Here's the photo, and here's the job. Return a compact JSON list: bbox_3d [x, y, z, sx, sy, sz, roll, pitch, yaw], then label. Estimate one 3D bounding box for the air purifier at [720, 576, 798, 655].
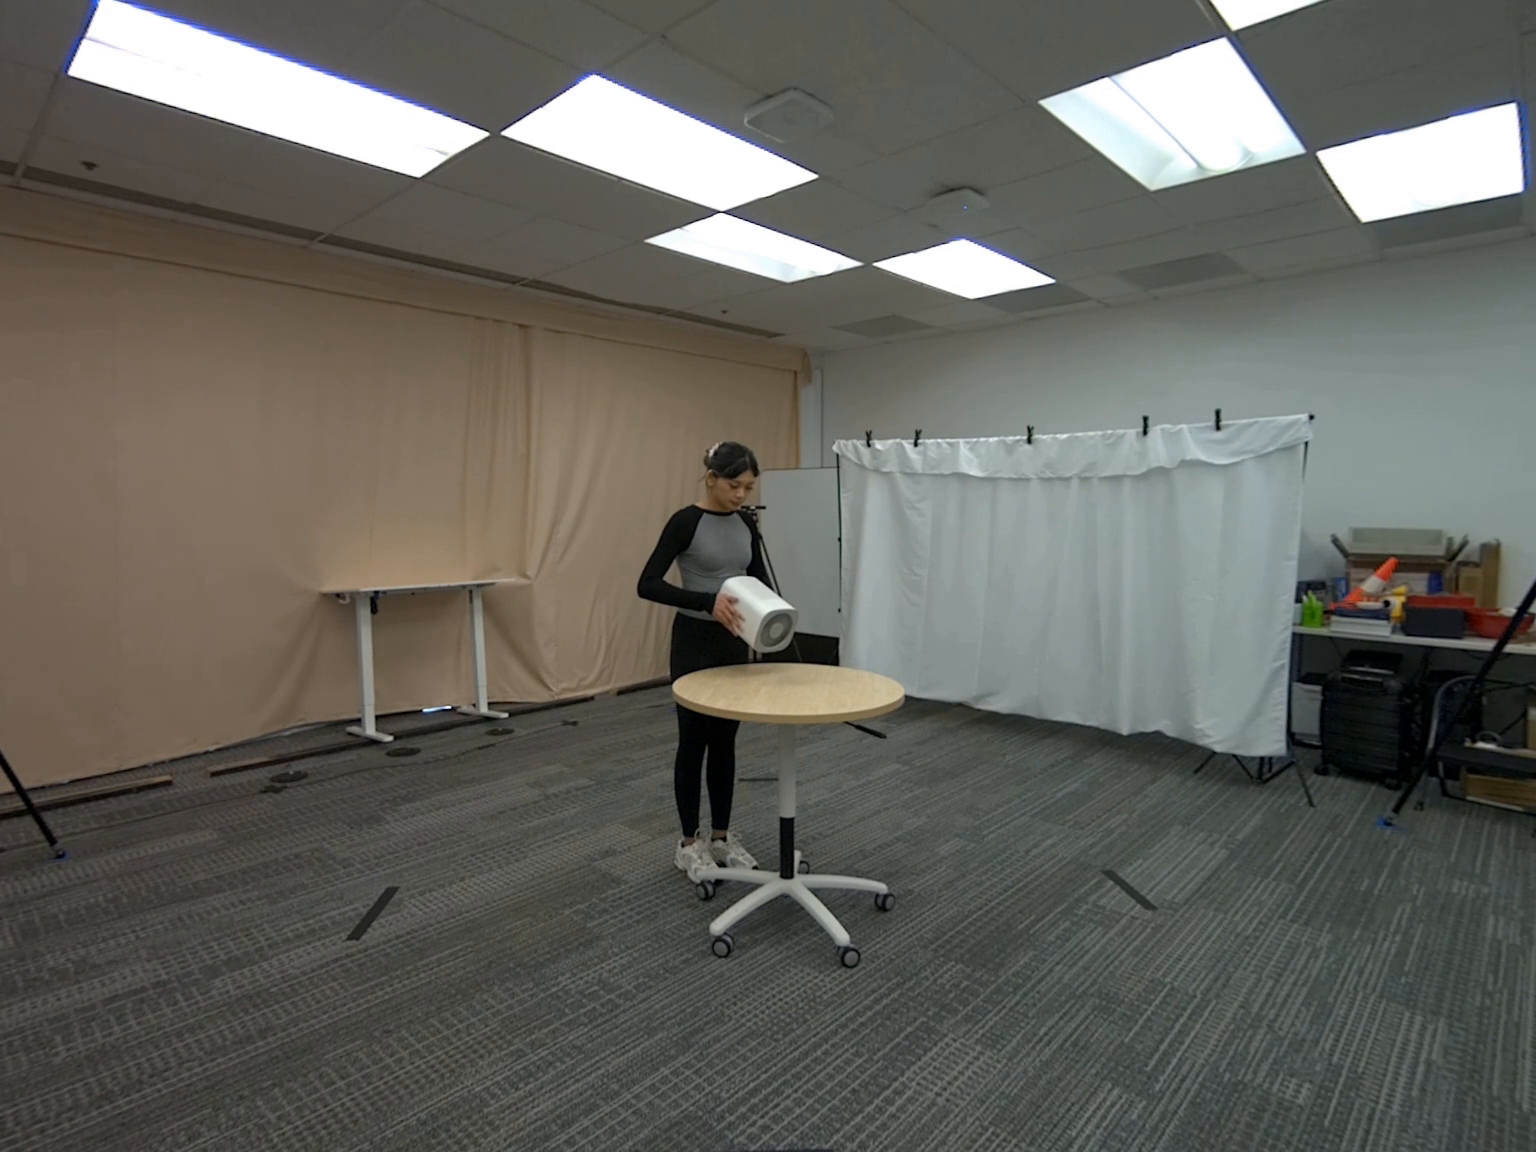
[{"bbox_3d":[-0.037,0.129,2.987,0.166,0.170,0.275,0,26,-36],"label":"air purifier"}]
